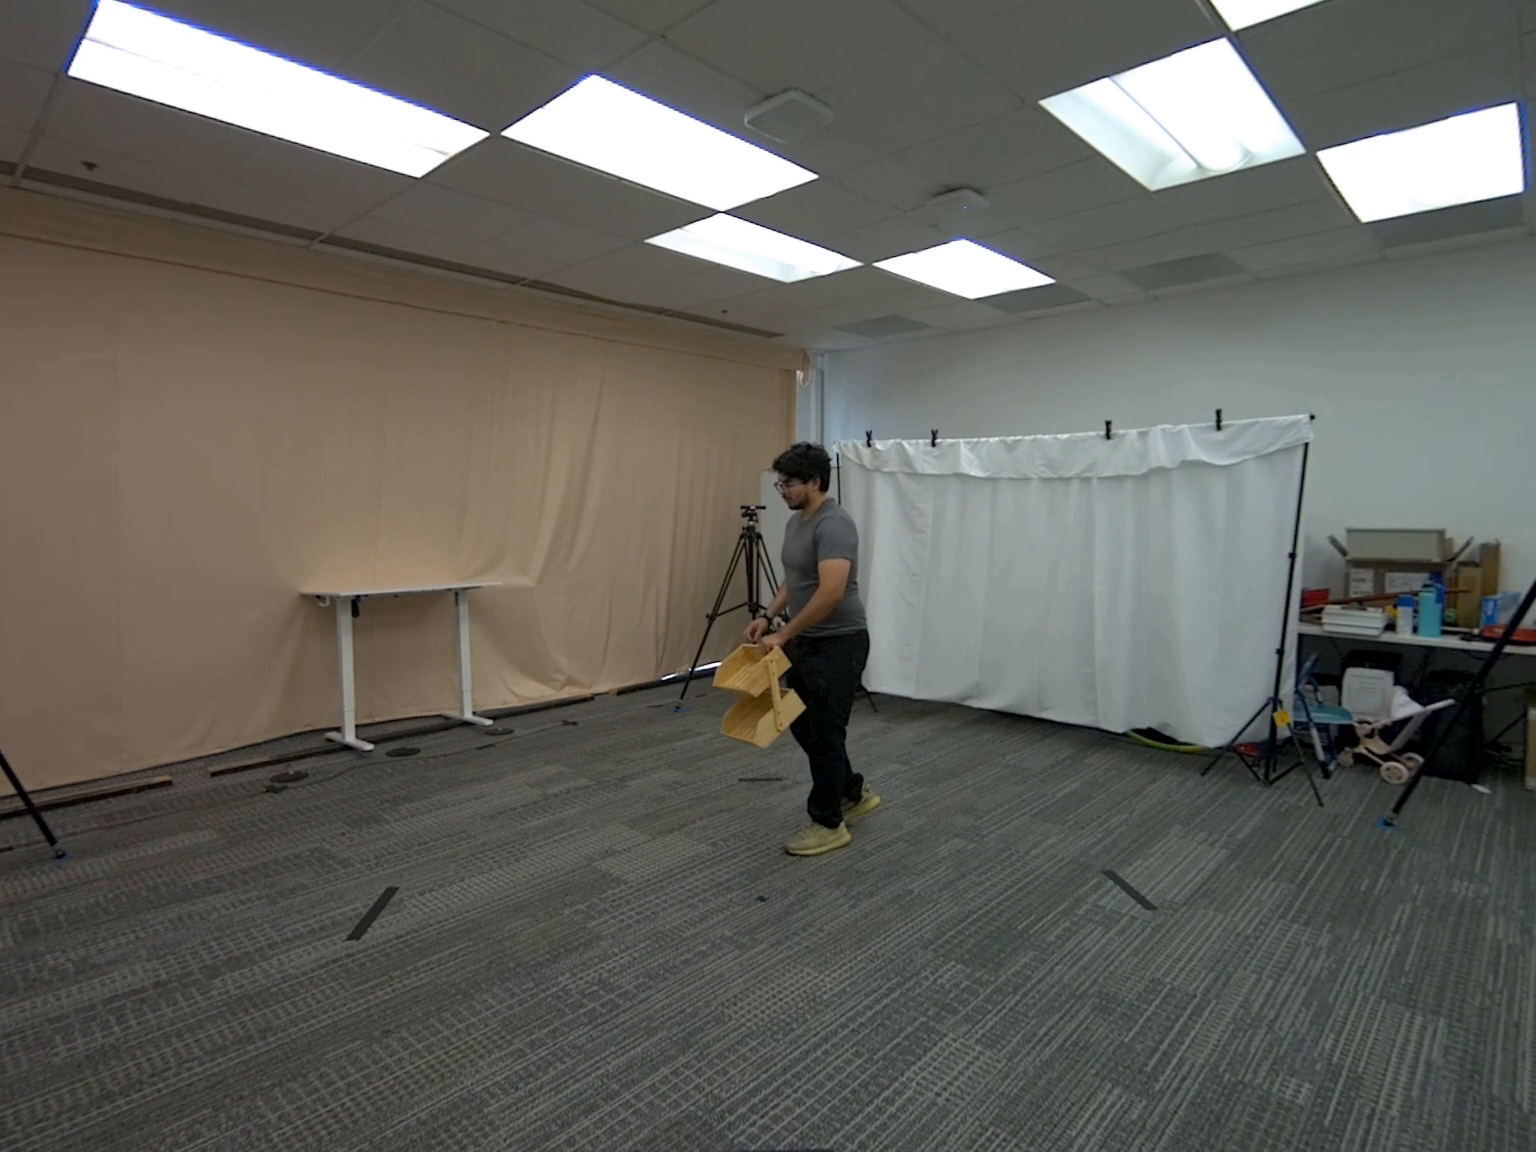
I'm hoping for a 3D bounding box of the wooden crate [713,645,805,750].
[{"bbox_3d":[-0.061,0.466,3.280,0.299,0.270,0.332,-40,14,-24],"label":"wooden crate"}]
